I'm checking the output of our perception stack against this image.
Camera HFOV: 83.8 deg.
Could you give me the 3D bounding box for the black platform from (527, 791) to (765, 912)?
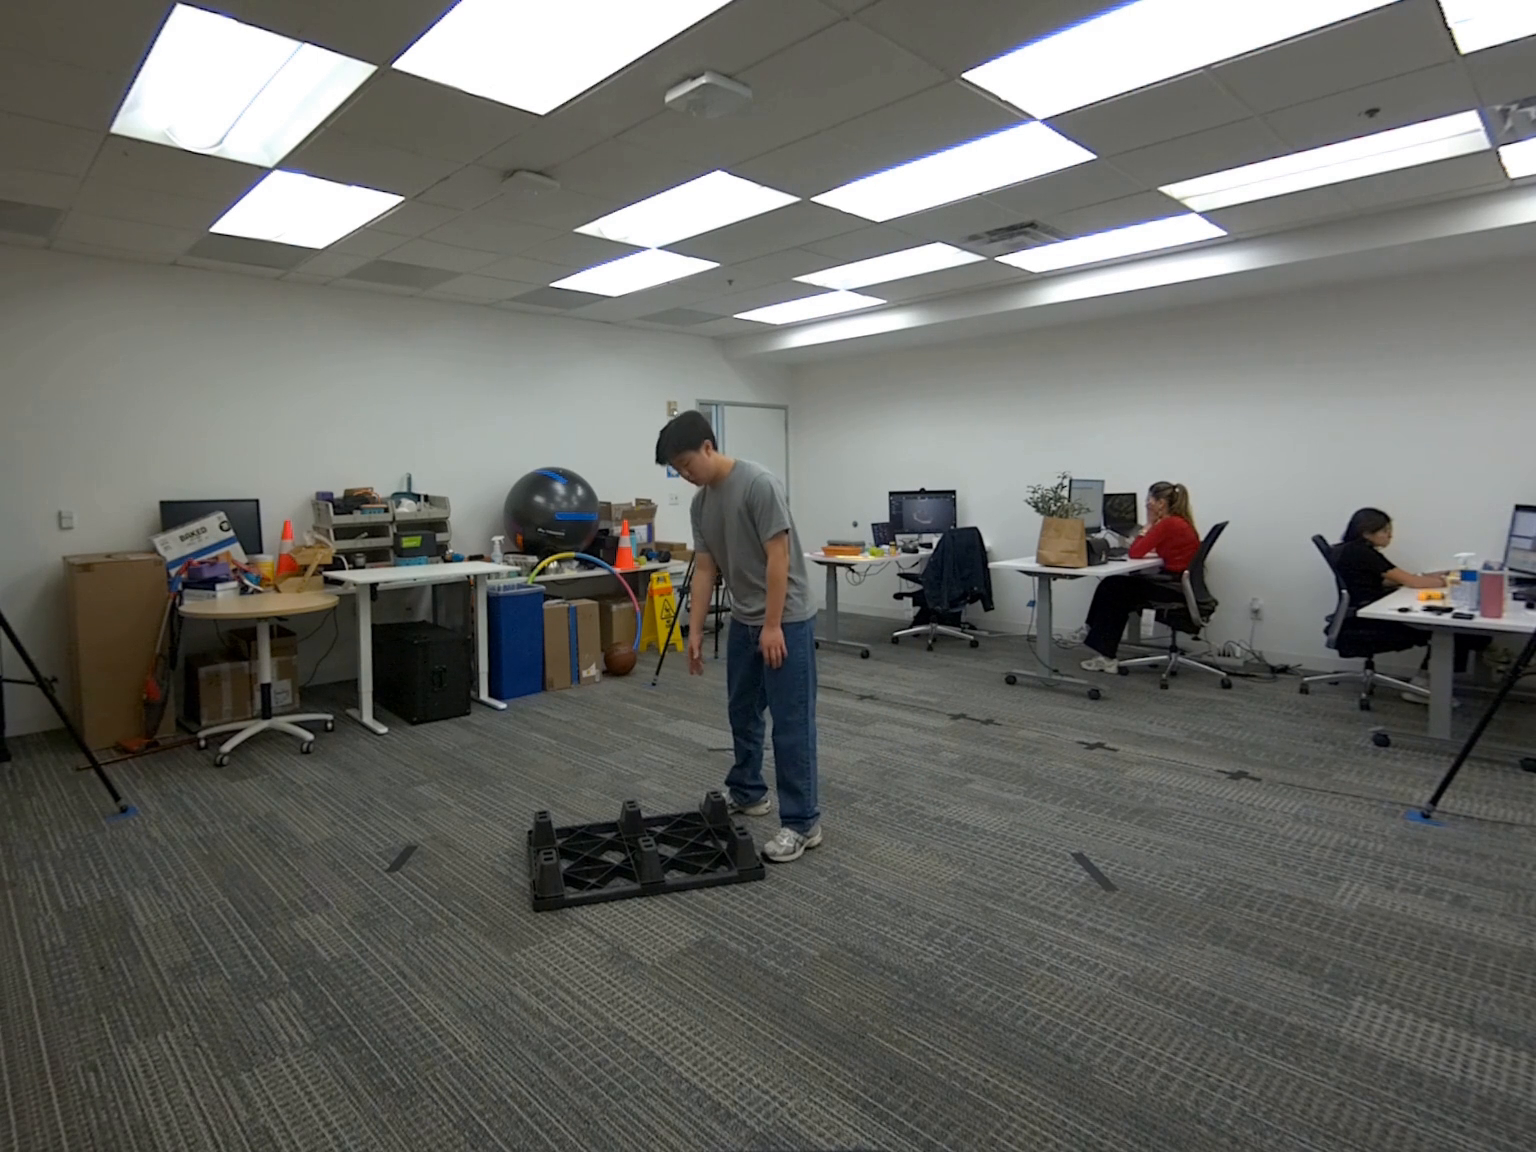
[{"bbox_3d":[-0.473,0.979,3.153,0.794,0.143,0.617,-3,6,-16],"label":"black platform"}]
